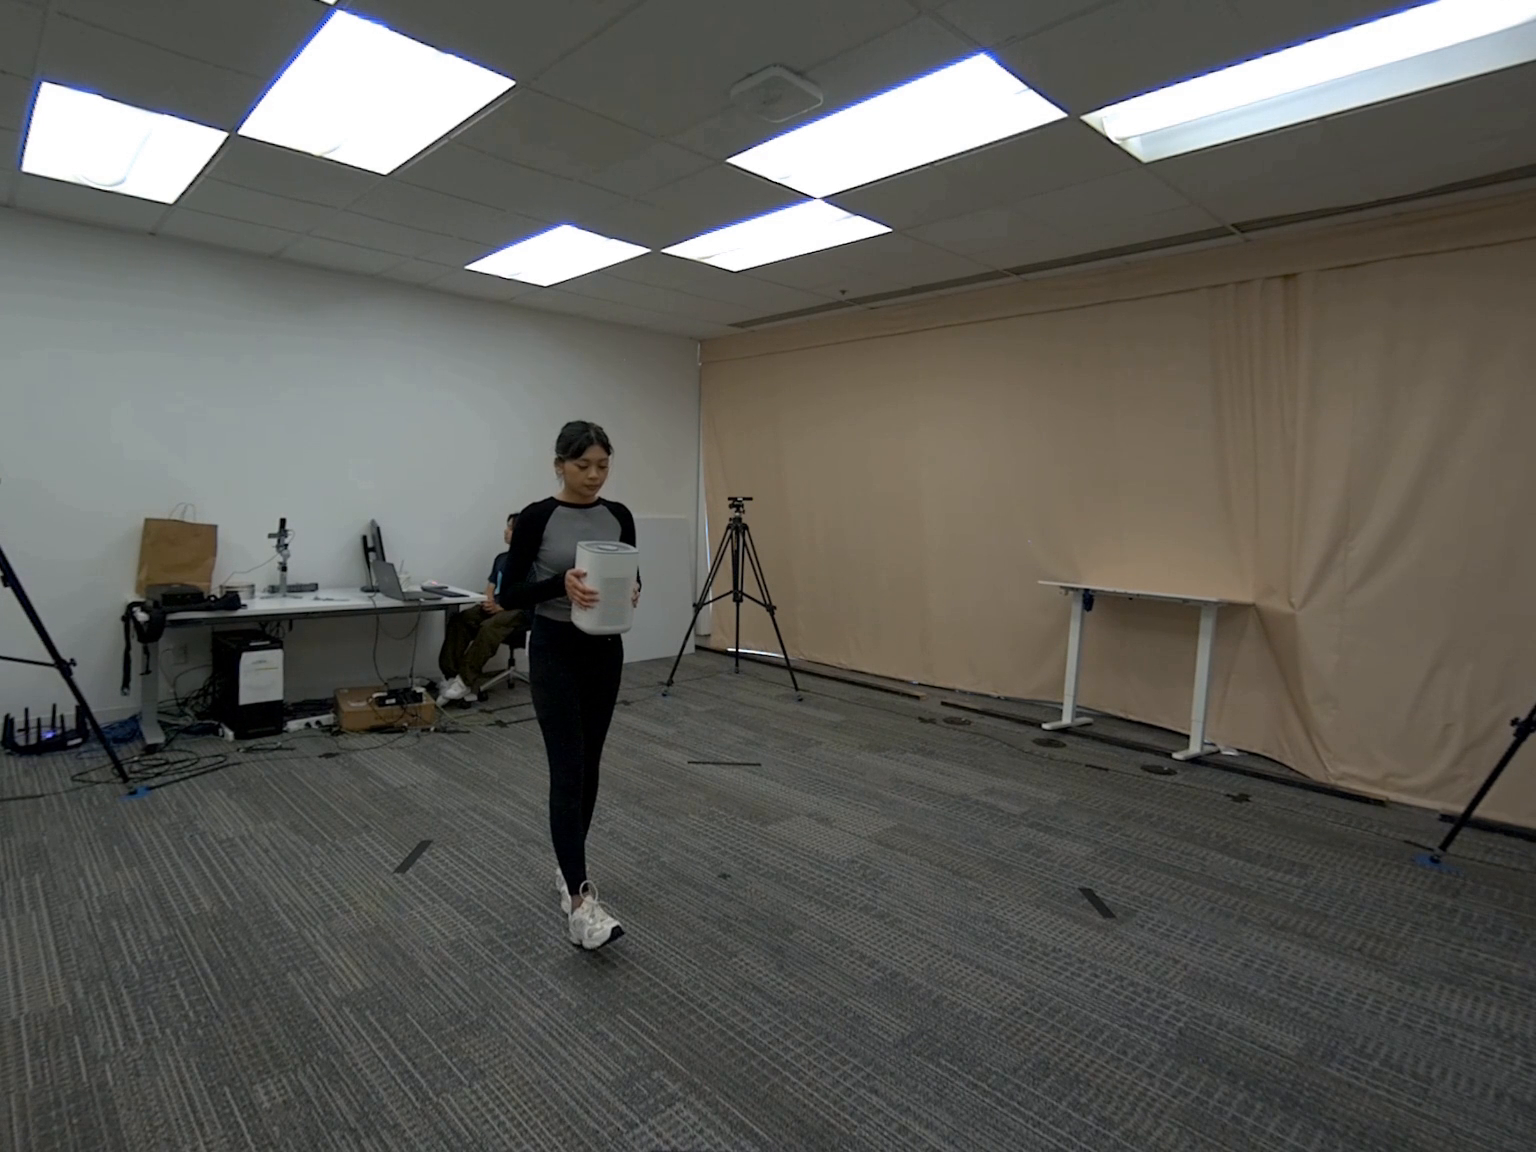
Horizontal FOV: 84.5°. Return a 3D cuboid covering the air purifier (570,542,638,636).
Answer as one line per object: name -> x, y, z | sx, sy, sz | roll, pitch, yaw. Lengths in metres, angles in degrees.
air purifier -> -0.527, 0.040, 2.613 | 0.168, 0.264, 0.175 | 1, 11, -29
